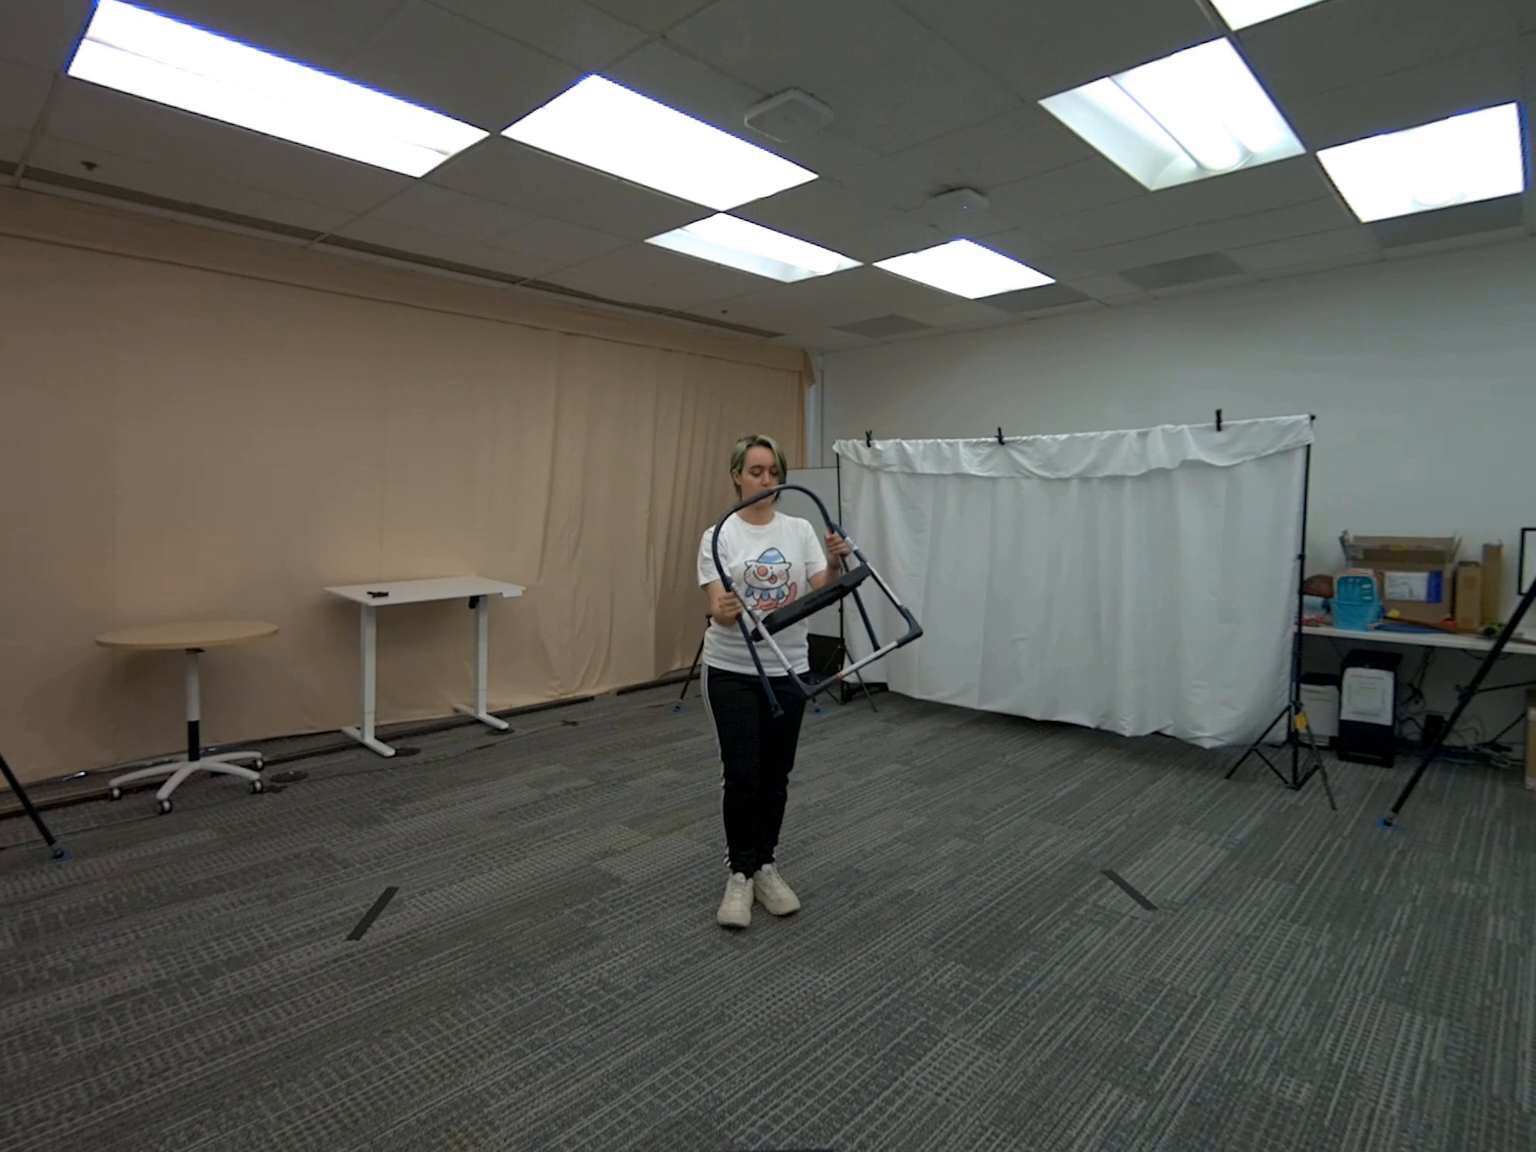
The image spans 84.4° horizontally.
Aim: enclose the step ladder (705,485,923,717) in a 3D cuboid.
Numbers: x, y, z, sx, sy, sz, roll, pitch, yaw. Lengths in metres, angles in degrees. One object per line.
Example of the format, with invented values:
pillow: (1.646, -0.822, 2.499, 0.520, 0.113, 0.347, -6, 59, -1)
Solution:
step ladder: (0.092, 0.044, 2.561, 0.425, 0.613, 0.350, -26, -11, -21)
